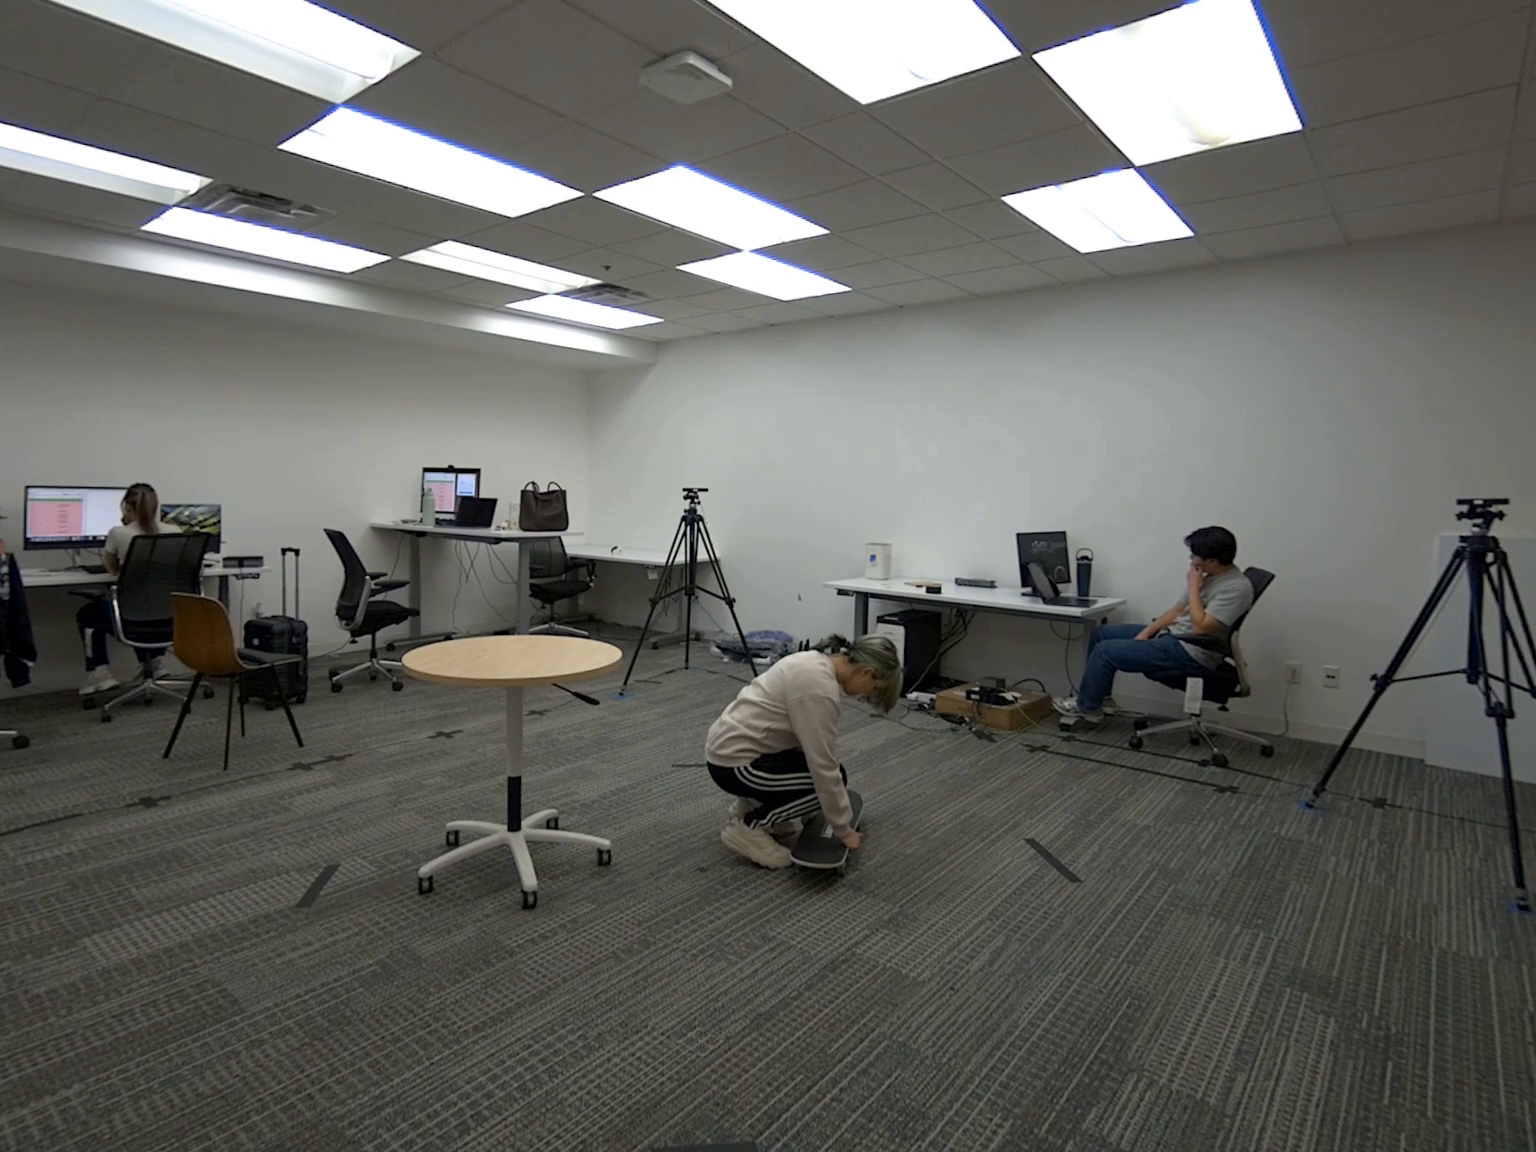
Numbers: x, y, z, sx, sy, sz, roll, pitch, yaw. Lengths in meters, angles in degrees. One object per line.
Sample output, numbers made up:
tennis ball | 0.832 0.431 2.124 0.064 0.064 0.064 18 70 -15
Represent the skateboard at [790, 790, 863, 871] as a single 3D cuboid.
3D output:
skateboard | 0.229 0.992 3.297 0.197 0.110 0.775 2 5 13
